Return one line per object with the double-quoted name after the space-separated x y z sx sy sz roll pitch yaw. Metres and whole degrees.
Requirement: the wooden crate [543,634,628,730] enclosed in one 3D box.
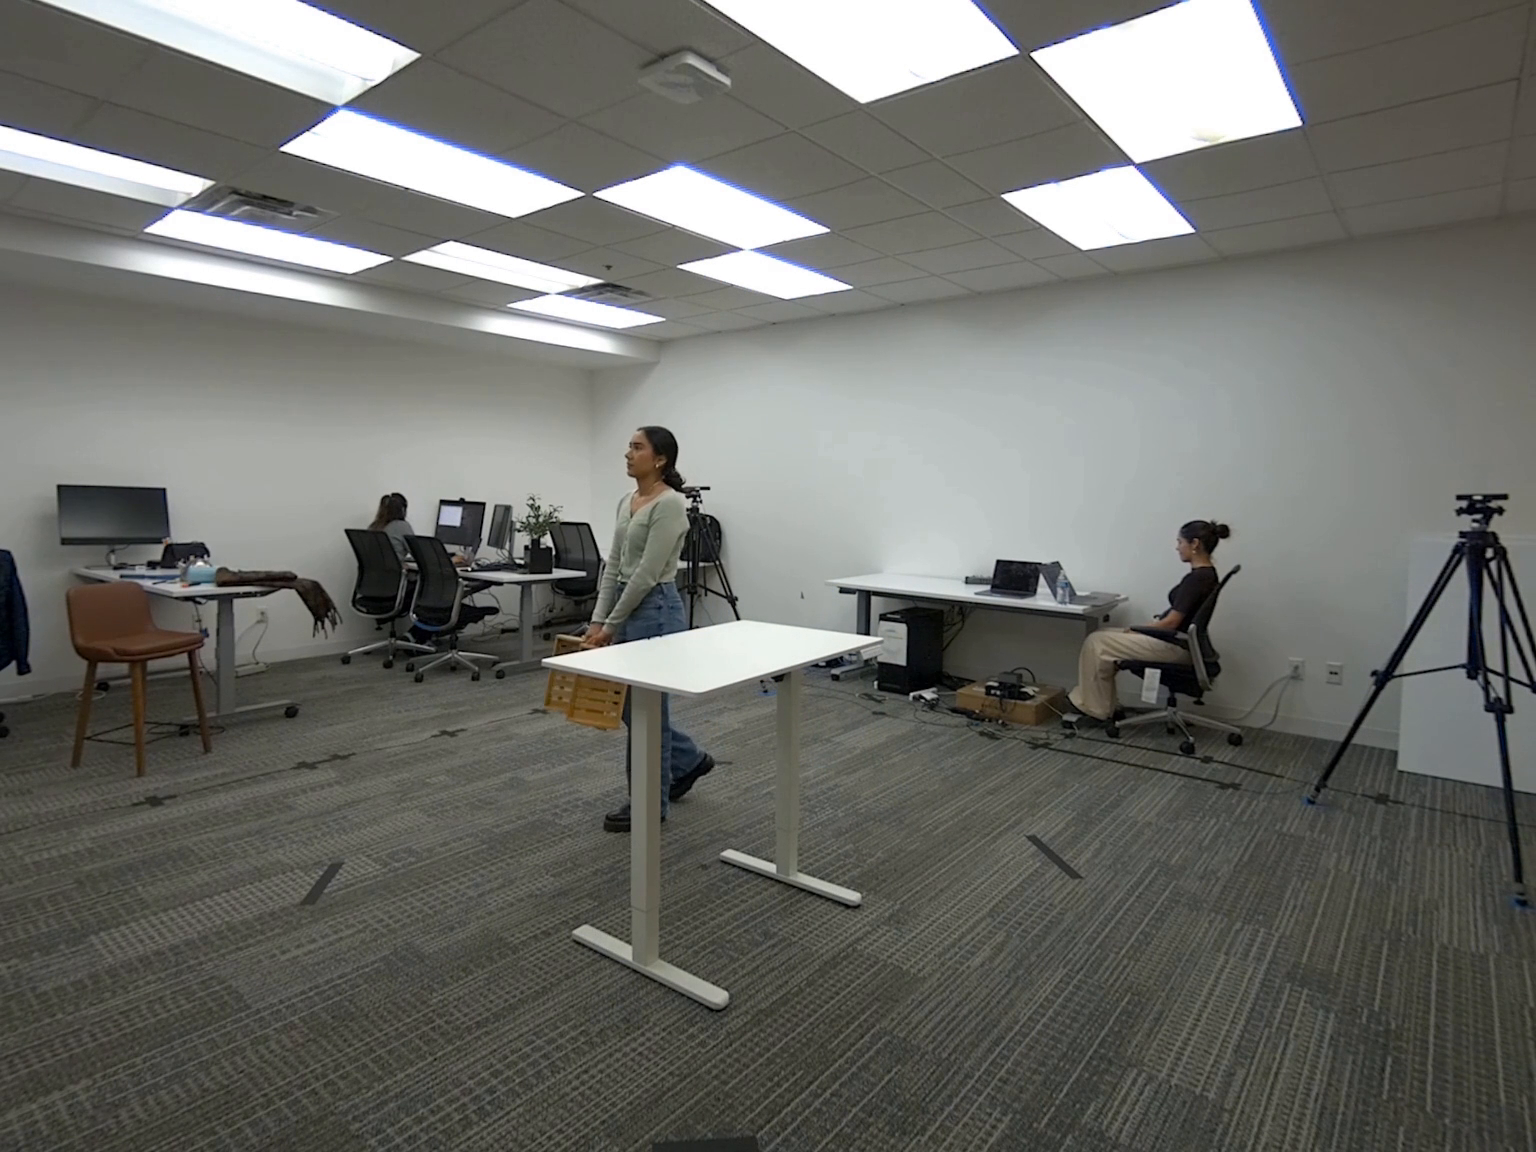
-0.746 0.422 3.424 0.297 0.324 0.278 10 0 -14 "wooden crate"
